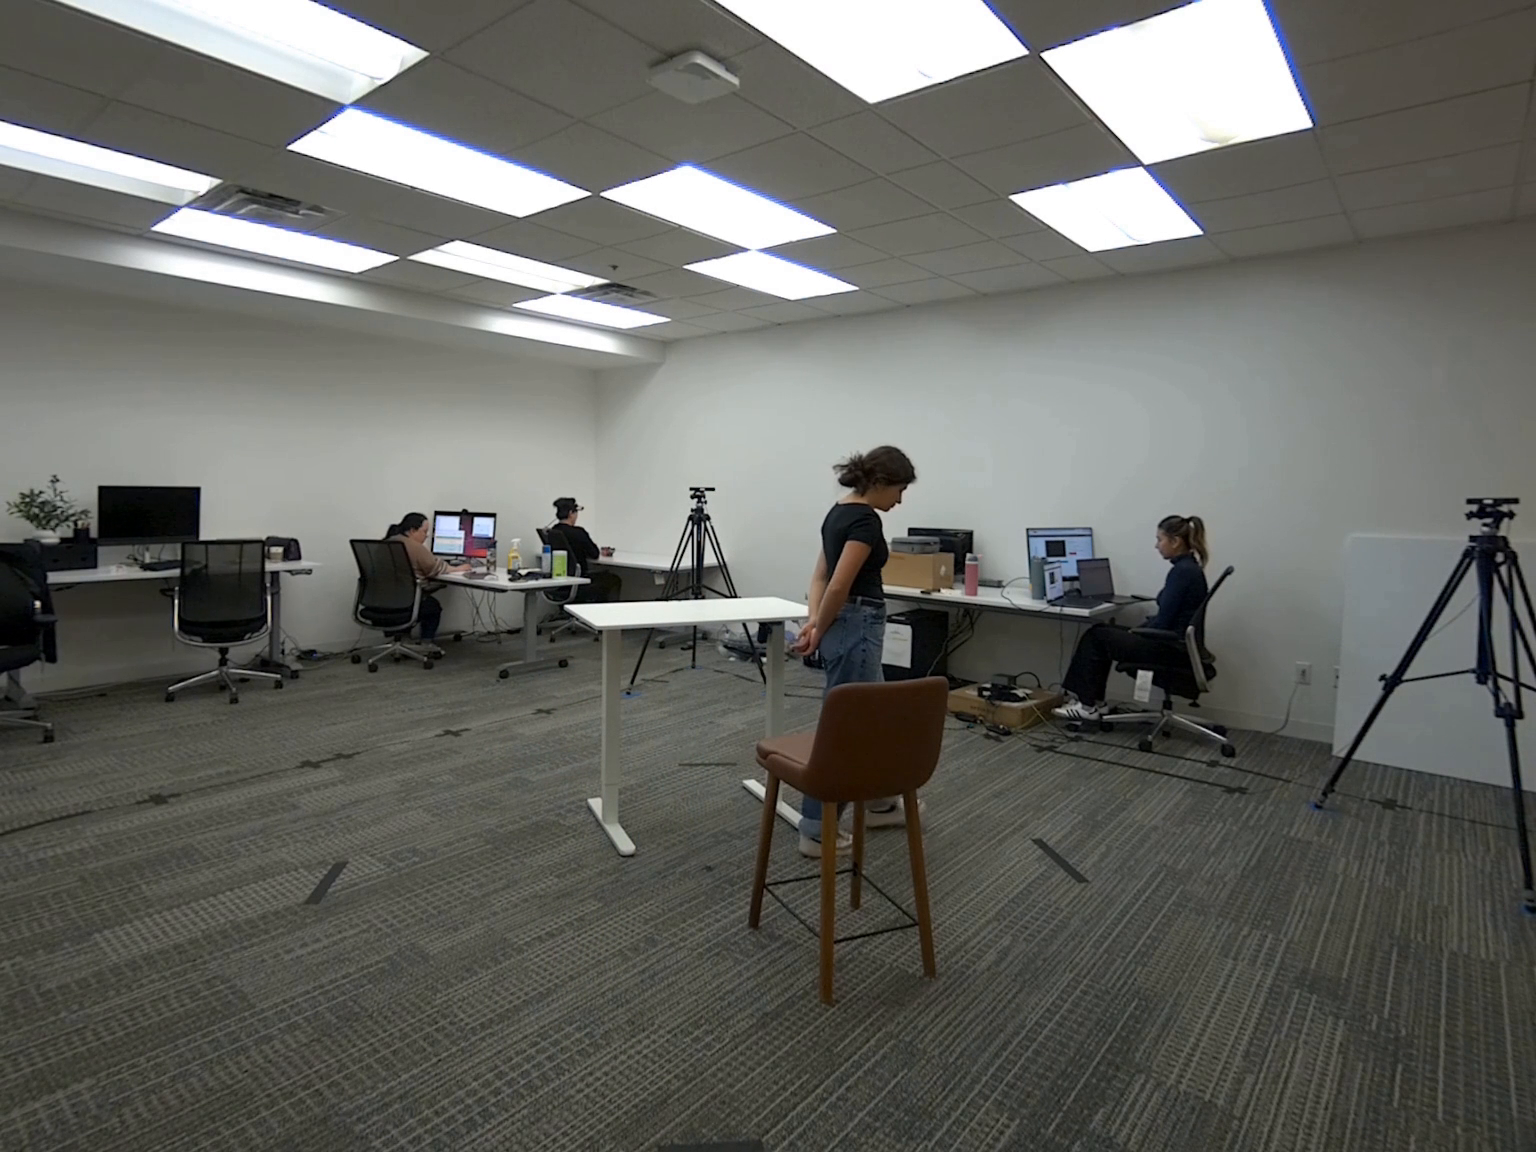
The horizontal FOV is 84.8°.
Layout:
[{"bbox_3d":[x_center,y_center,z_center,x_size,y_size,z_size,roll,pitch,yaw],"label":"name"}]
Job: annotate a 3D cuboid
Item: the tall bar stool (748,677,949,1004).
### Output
[{"bbox_3d":[0.228,0.695,2.553,0.445,0.886,0.481,0,5,-26],"label":"tall bar stool"}]
